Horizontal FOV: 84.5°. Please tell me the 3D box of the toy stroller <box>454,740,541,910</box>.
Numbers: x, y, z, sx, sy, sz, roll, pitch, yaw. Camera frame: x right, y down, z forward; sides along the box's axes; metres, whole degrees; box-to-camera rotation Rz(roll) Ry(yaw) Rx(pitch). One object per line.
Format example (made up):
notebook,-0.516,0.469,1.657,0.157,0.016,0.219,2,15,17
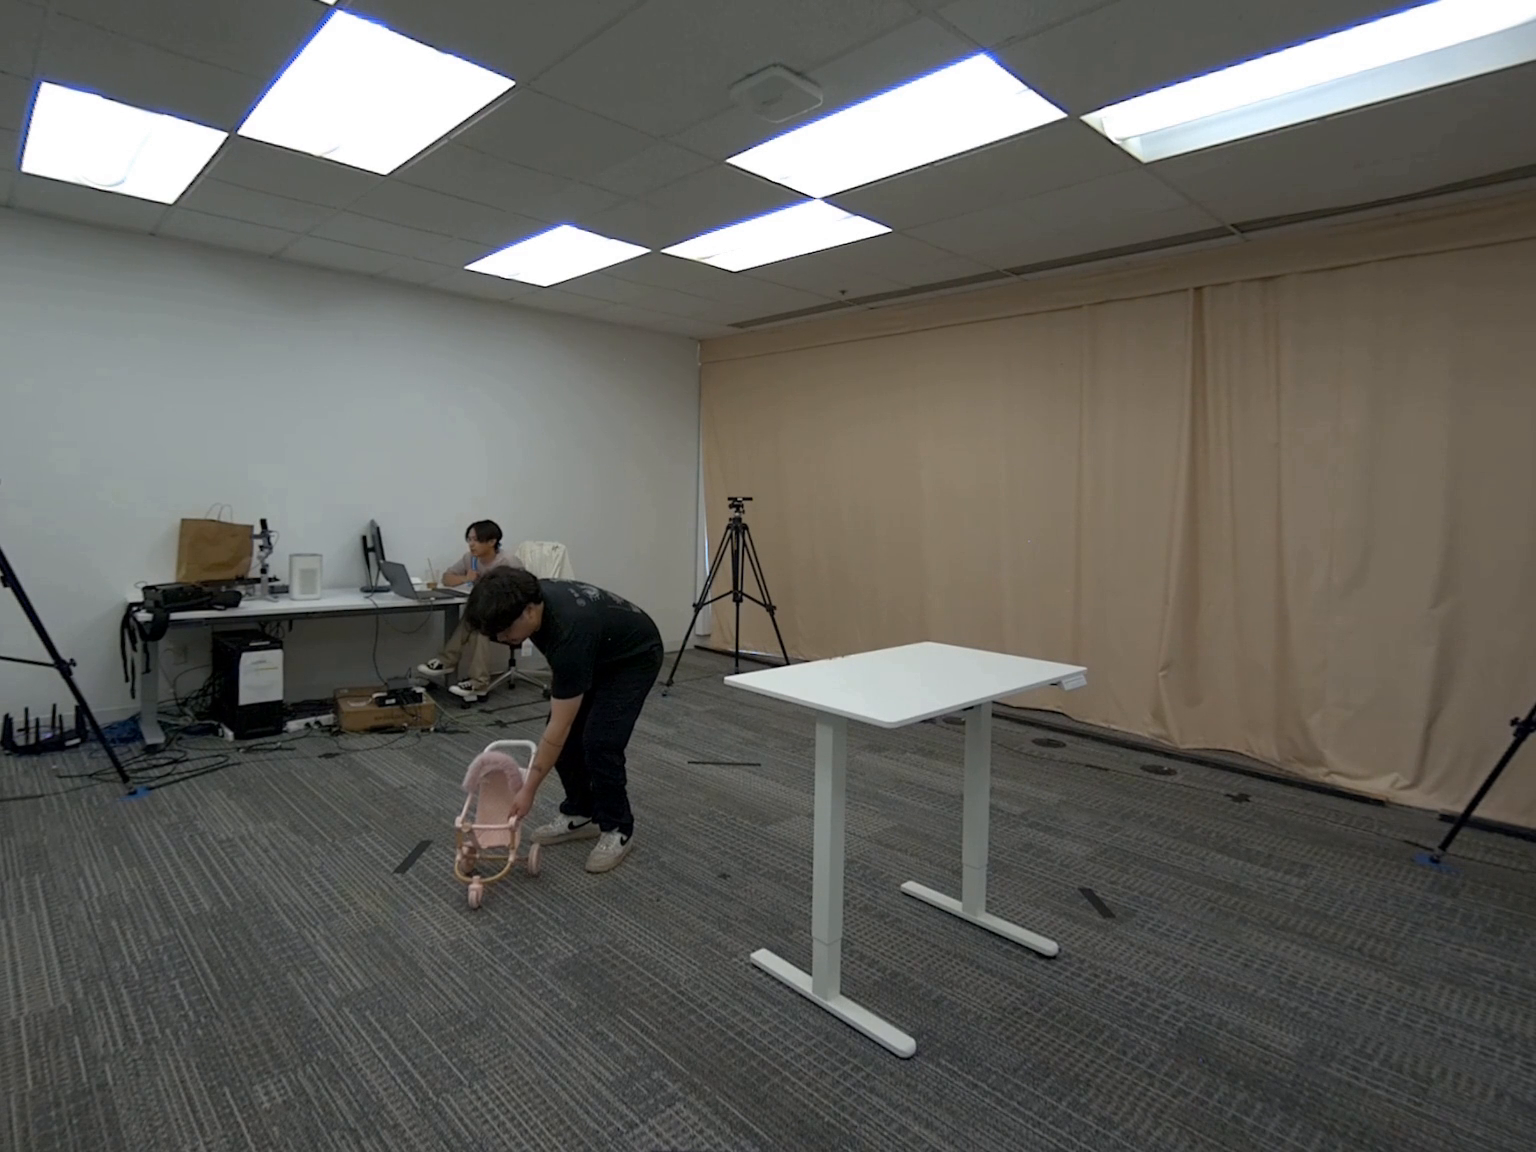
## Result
toy stroller,-0.997,0.871,2.999,0.284,0.539,0.335,-1,-10,12
